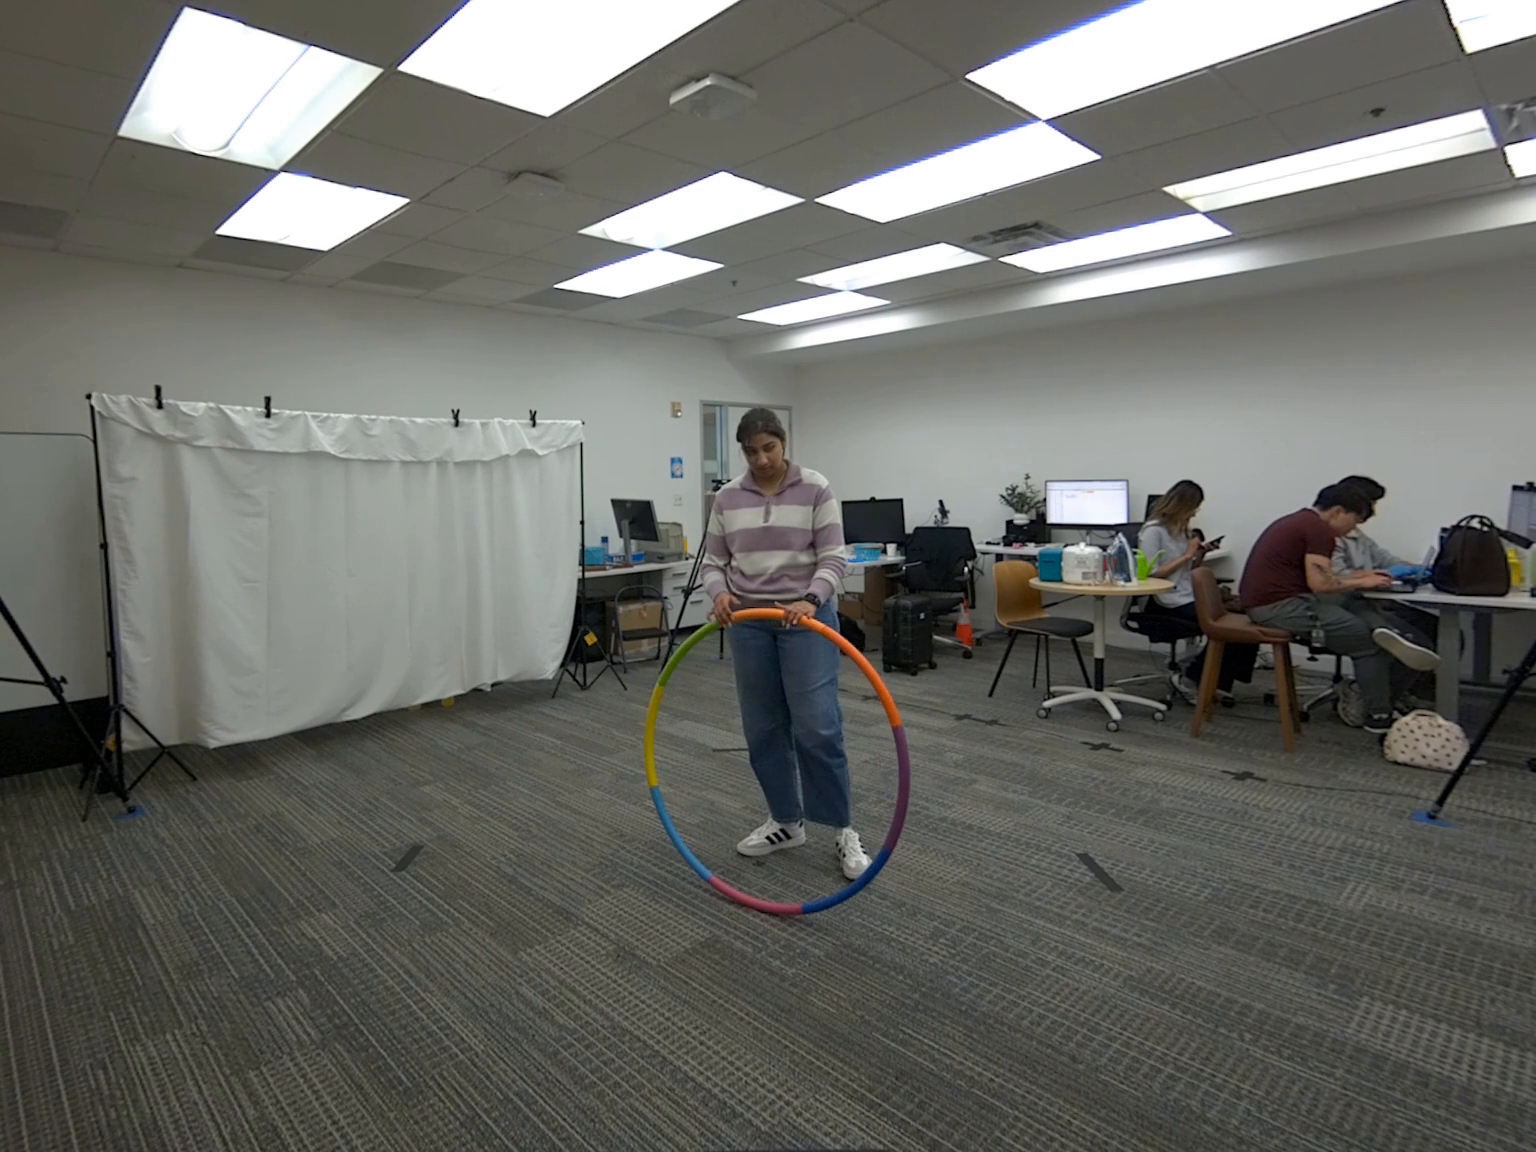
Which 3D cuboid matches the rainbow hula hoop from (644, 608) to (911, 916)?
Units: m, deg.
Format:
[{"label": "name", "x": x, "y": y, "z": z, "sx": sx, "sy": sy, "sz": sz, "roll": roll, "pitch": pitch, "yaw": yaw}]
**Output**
[{"label": "rainbow hula hoop", "x": -0.007, "y": 0.593, "z": 2.798, "sx": 1.013, "sy": 0.987, "sz": 0.050, "roll": 2, "pitch": -2, "yaw": 33}]
